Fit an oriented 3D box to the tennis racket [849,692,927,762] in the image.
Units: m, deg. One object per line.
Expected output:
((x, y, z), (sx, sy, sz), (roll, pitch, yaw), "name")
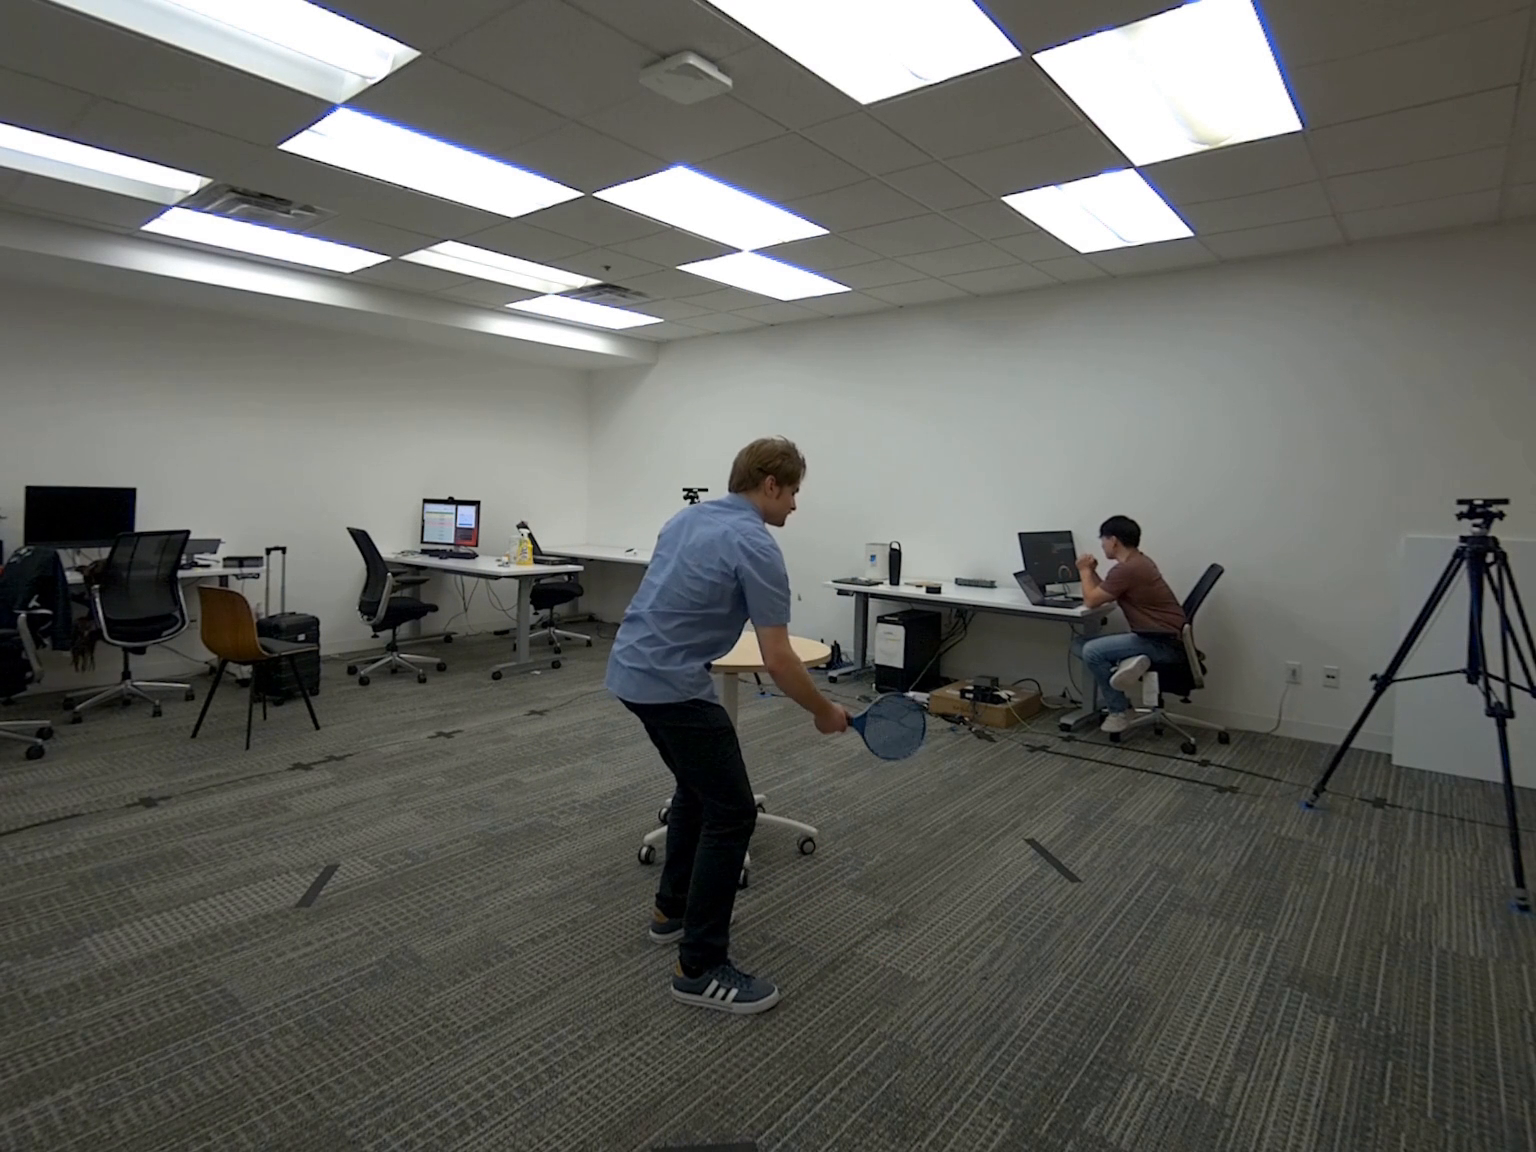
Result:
((0.324, 0.469, 2.666), (0.418, 0.214, 0.033), (14, -6, -32), "tennis racket")
